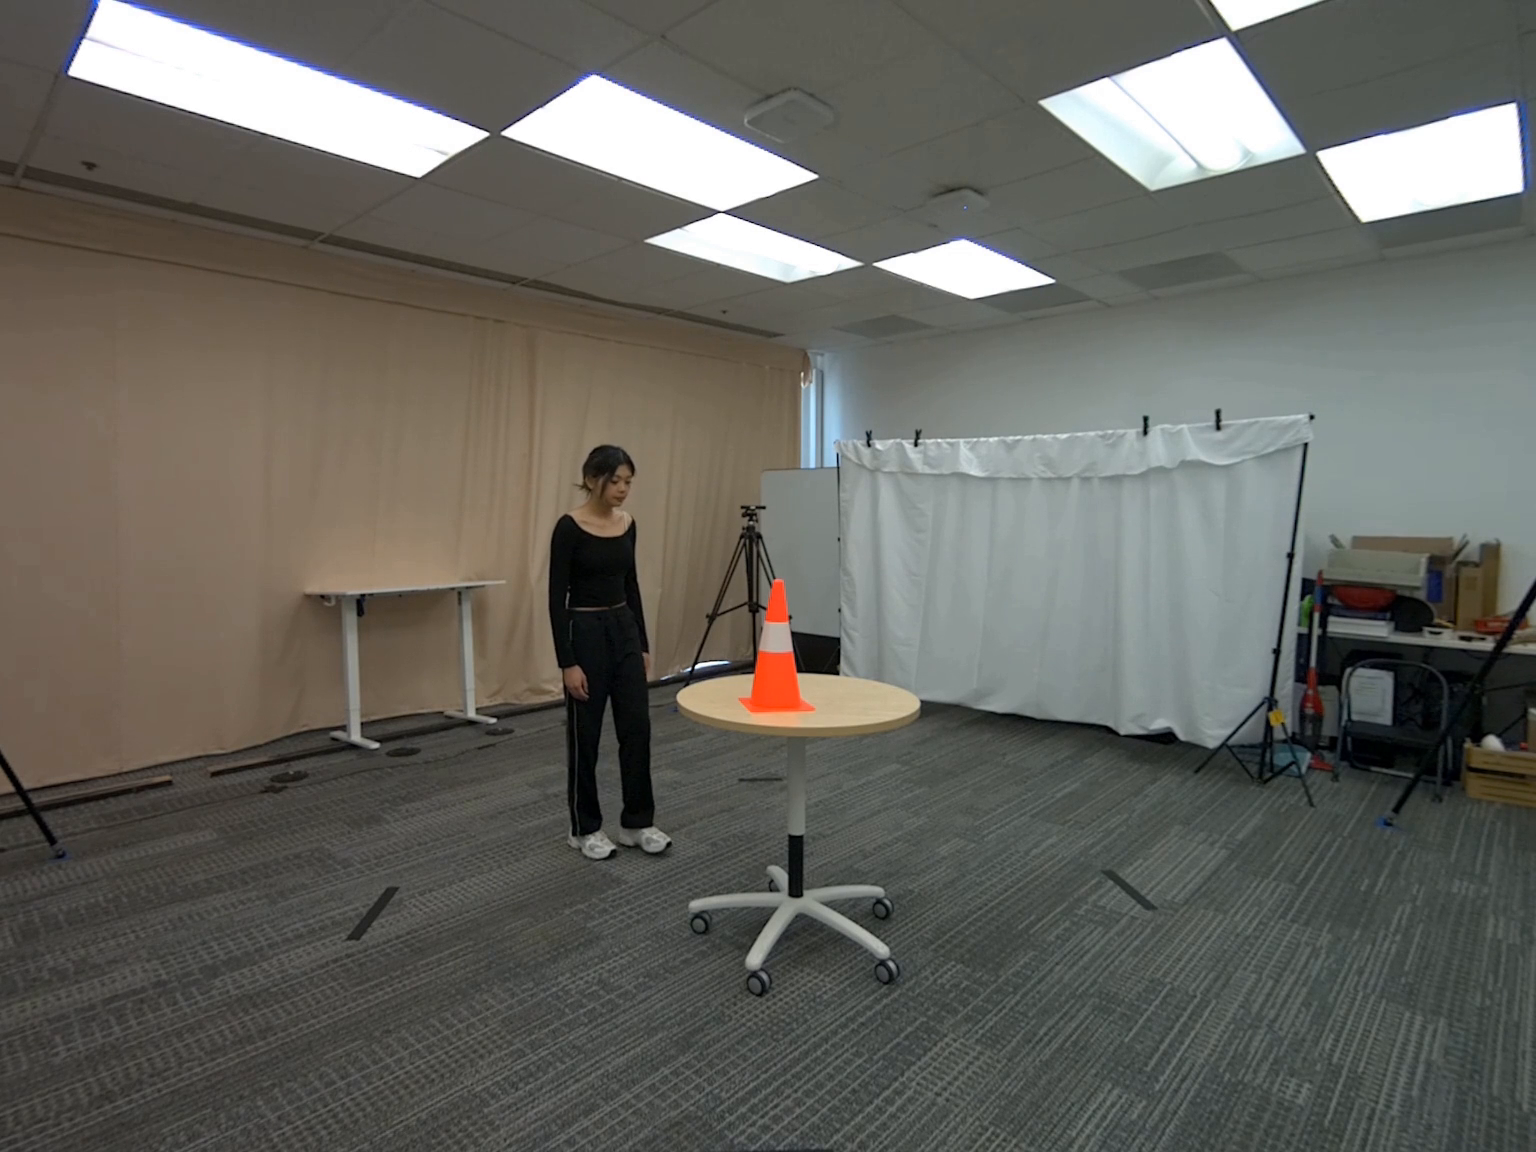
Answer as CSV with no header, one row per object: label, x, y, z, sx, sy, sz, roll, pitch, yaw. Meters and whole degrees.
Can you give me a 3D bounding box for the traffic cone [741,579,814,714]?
traffic cone,0.036,0.205,2.564,0.201,0.383,0.207,0,3,-17
